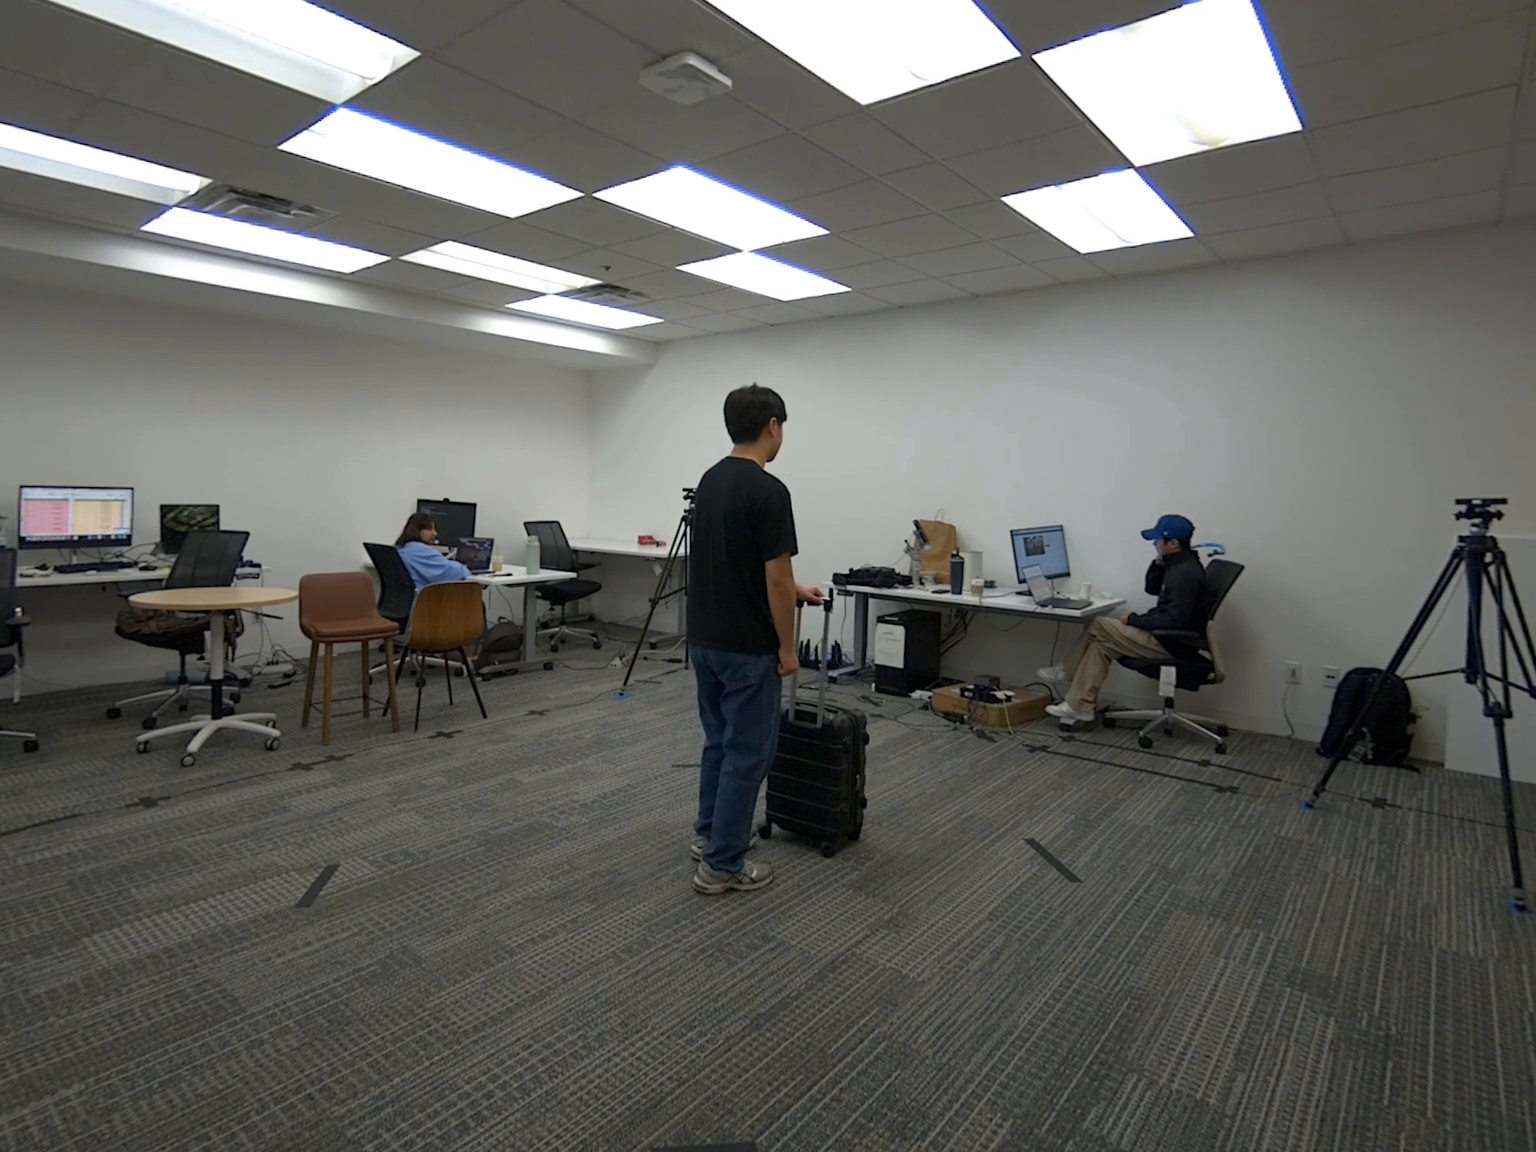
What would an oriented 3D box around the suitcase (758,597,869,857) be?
[{"bbox_3d":[0.201,0.574,3.409,0.396,0.977,0.249,5,2,34],"label":"suitcase"}]
